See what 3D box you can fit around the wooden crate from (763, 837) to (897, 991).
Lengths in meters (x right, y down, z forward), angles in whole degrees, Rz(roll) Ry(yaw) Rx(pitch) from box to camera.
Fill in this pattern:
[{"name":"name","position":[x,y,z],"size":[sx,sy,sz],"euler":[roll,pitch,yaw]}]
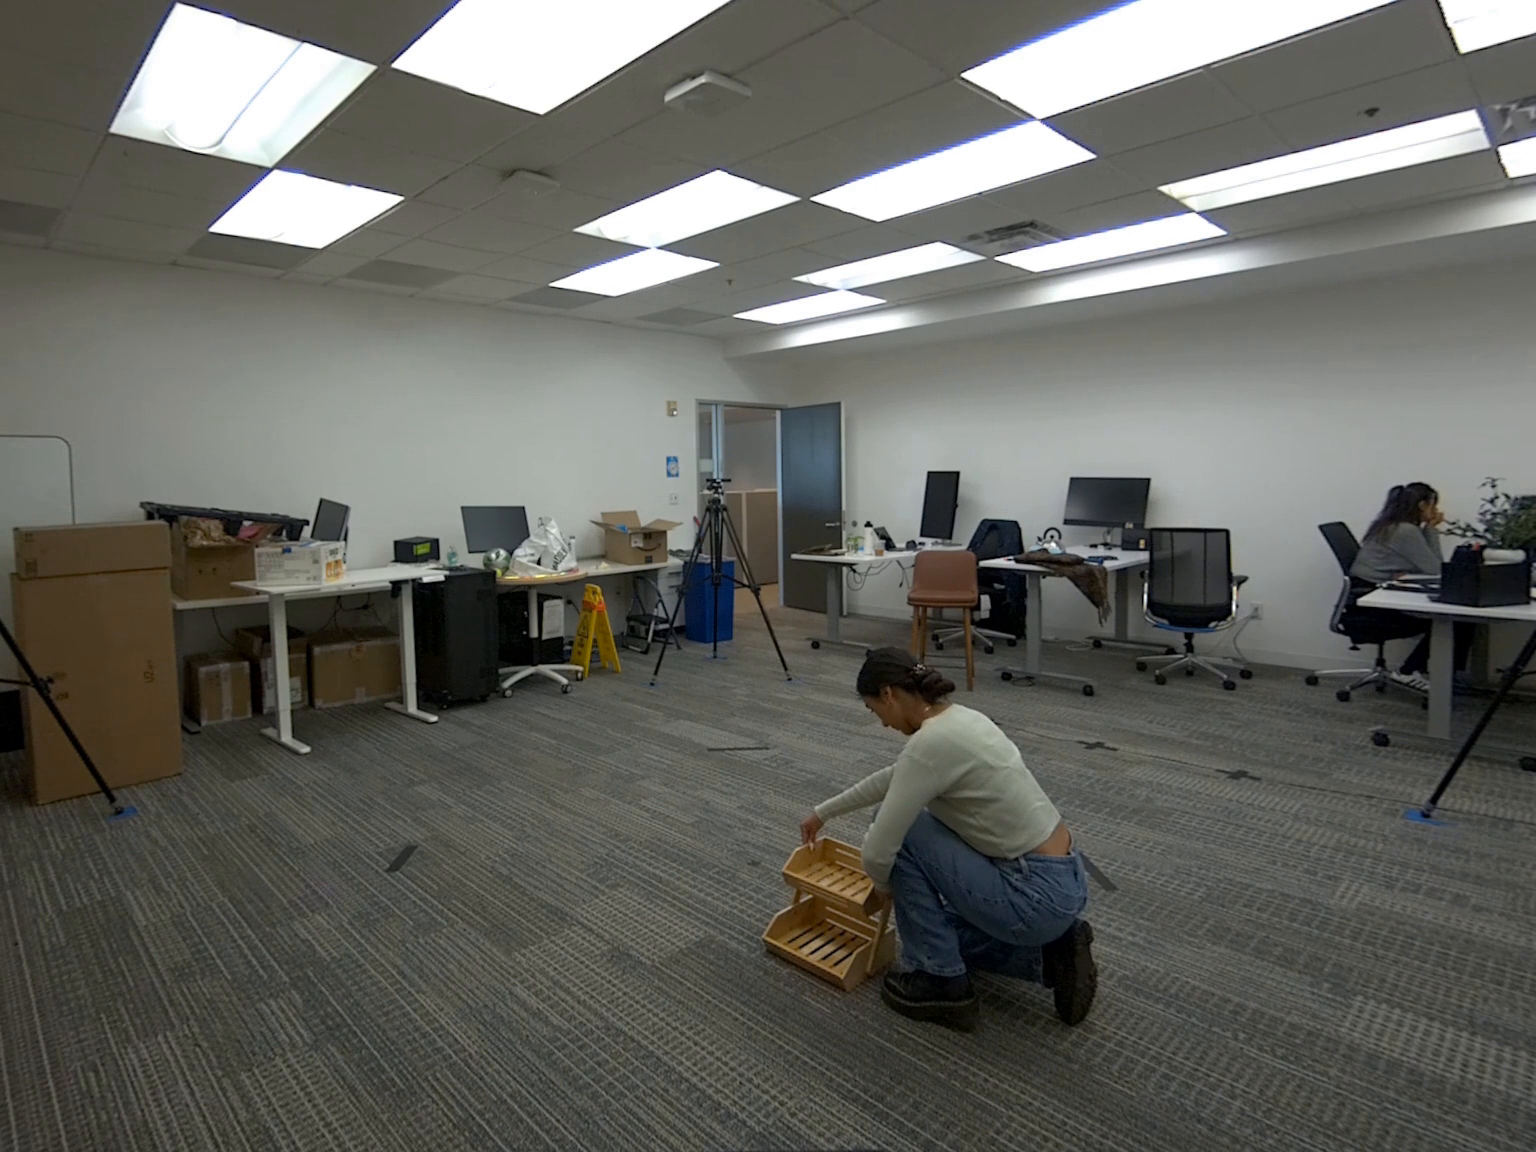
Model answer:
[{"name":"wooden crate","position":[0.198,0.977,2.509],"size":[0.334,0.272,0.294],"euler":[4,6,44]}]
